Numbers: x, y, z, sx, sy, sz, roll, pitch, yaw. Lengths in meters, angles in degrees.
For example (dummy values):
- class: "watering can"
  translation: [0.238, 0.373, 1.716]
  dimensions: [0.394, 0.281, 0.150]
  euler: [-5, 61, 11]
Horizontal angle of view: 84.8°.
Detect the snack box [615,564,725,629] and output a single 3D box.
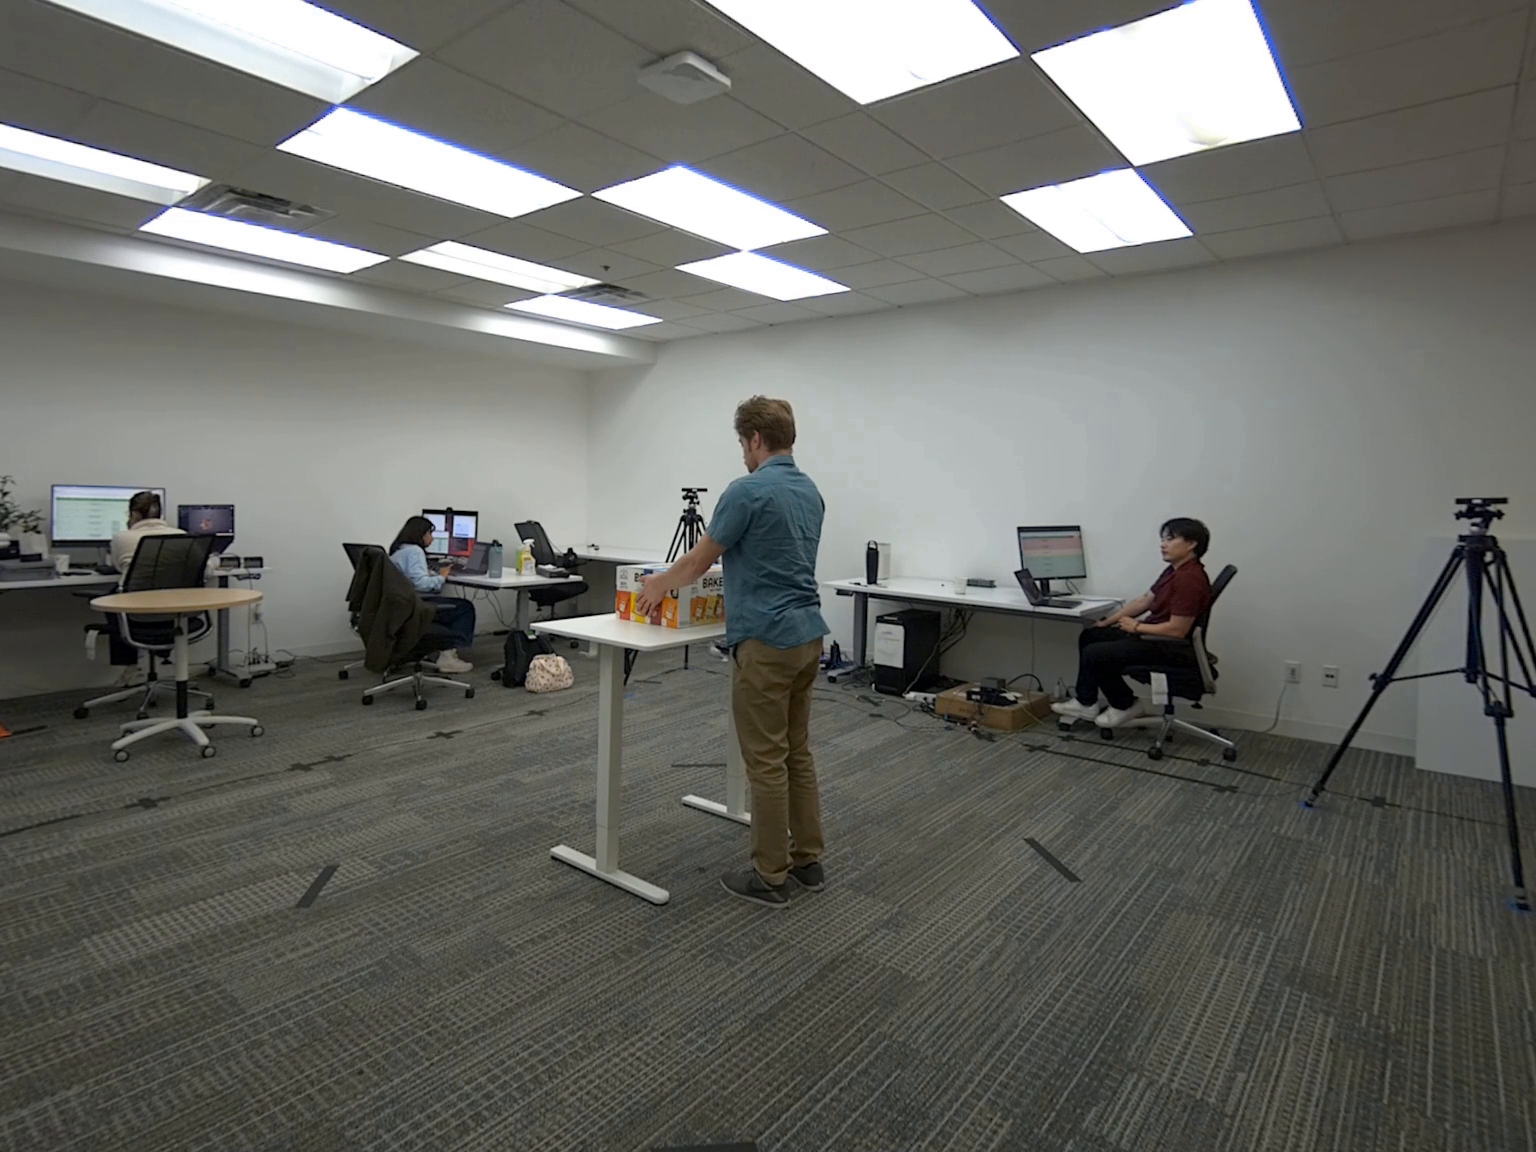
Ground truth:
- class: "snack box"
  translation: [-0.343, 0.063, 3.324]
  dimensions: [0.352, 0.205, 0.393]
  euler: [6, 7, 39]
